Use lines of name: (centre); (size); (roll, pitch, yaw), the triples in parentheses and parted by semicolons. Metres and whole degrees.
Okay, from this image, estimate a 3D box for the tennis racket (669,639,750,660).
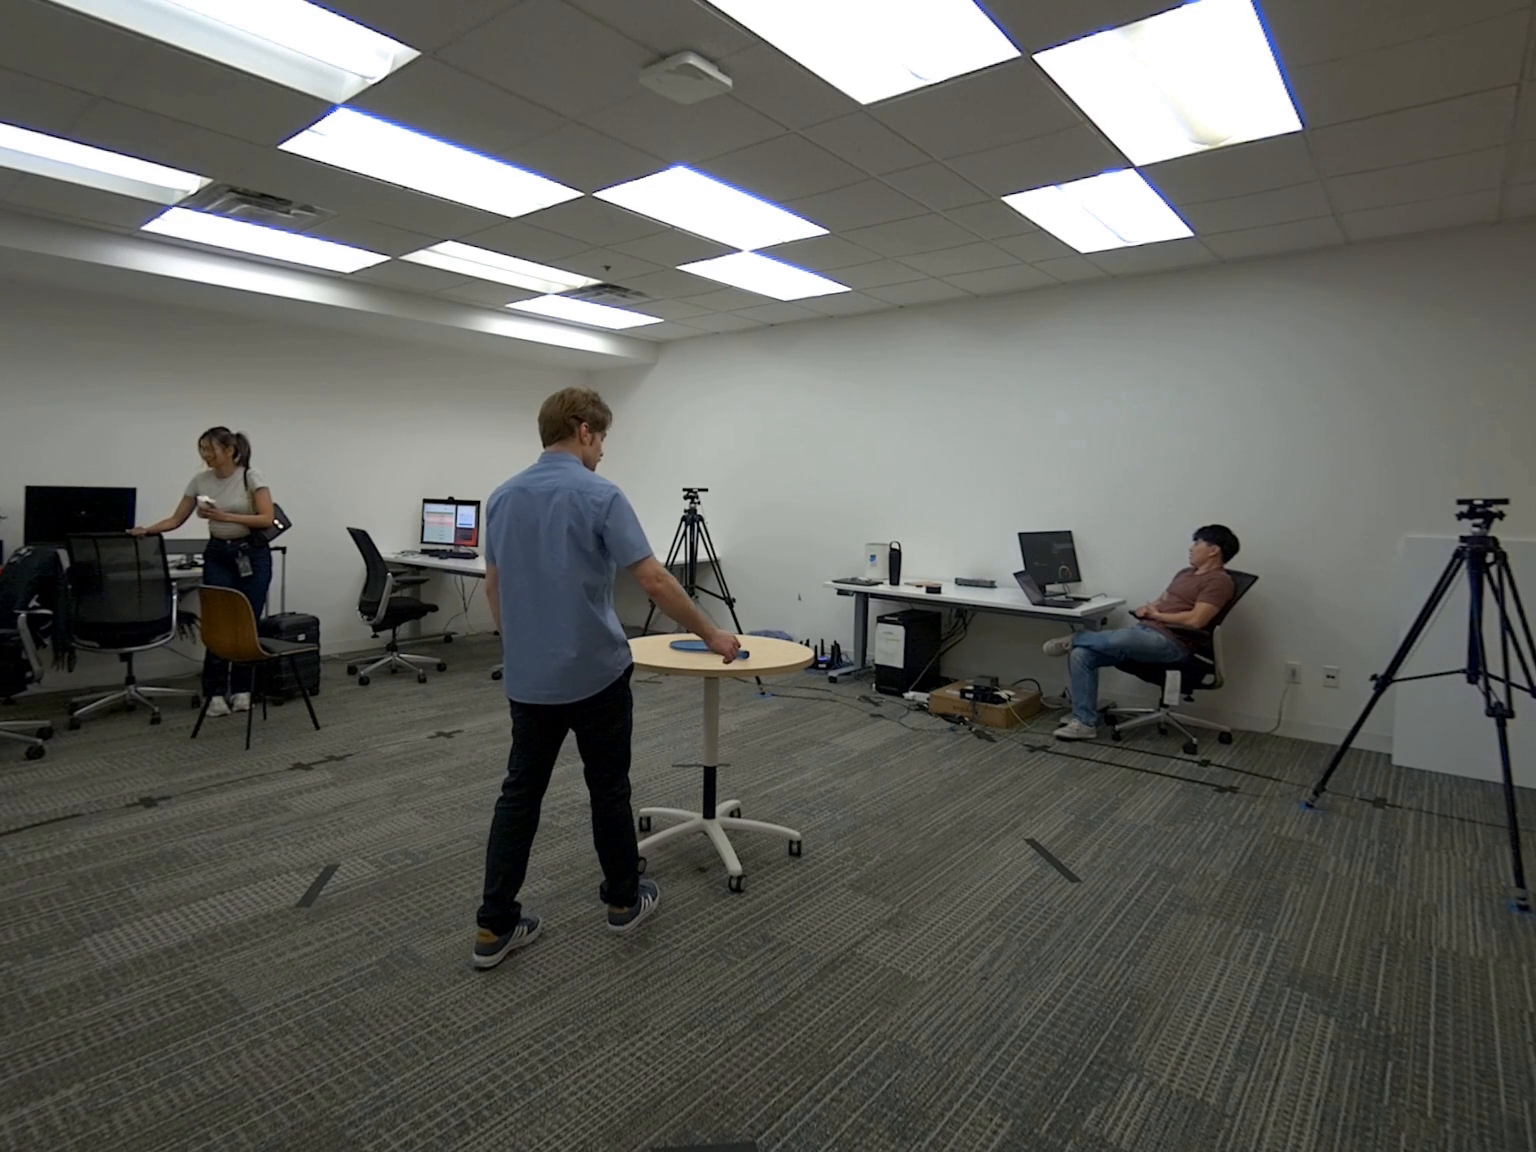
tennis racket: (-0.228, 0.270, 3.186); (0.207, 0.032, 0.447); (-2, 4, -36)
